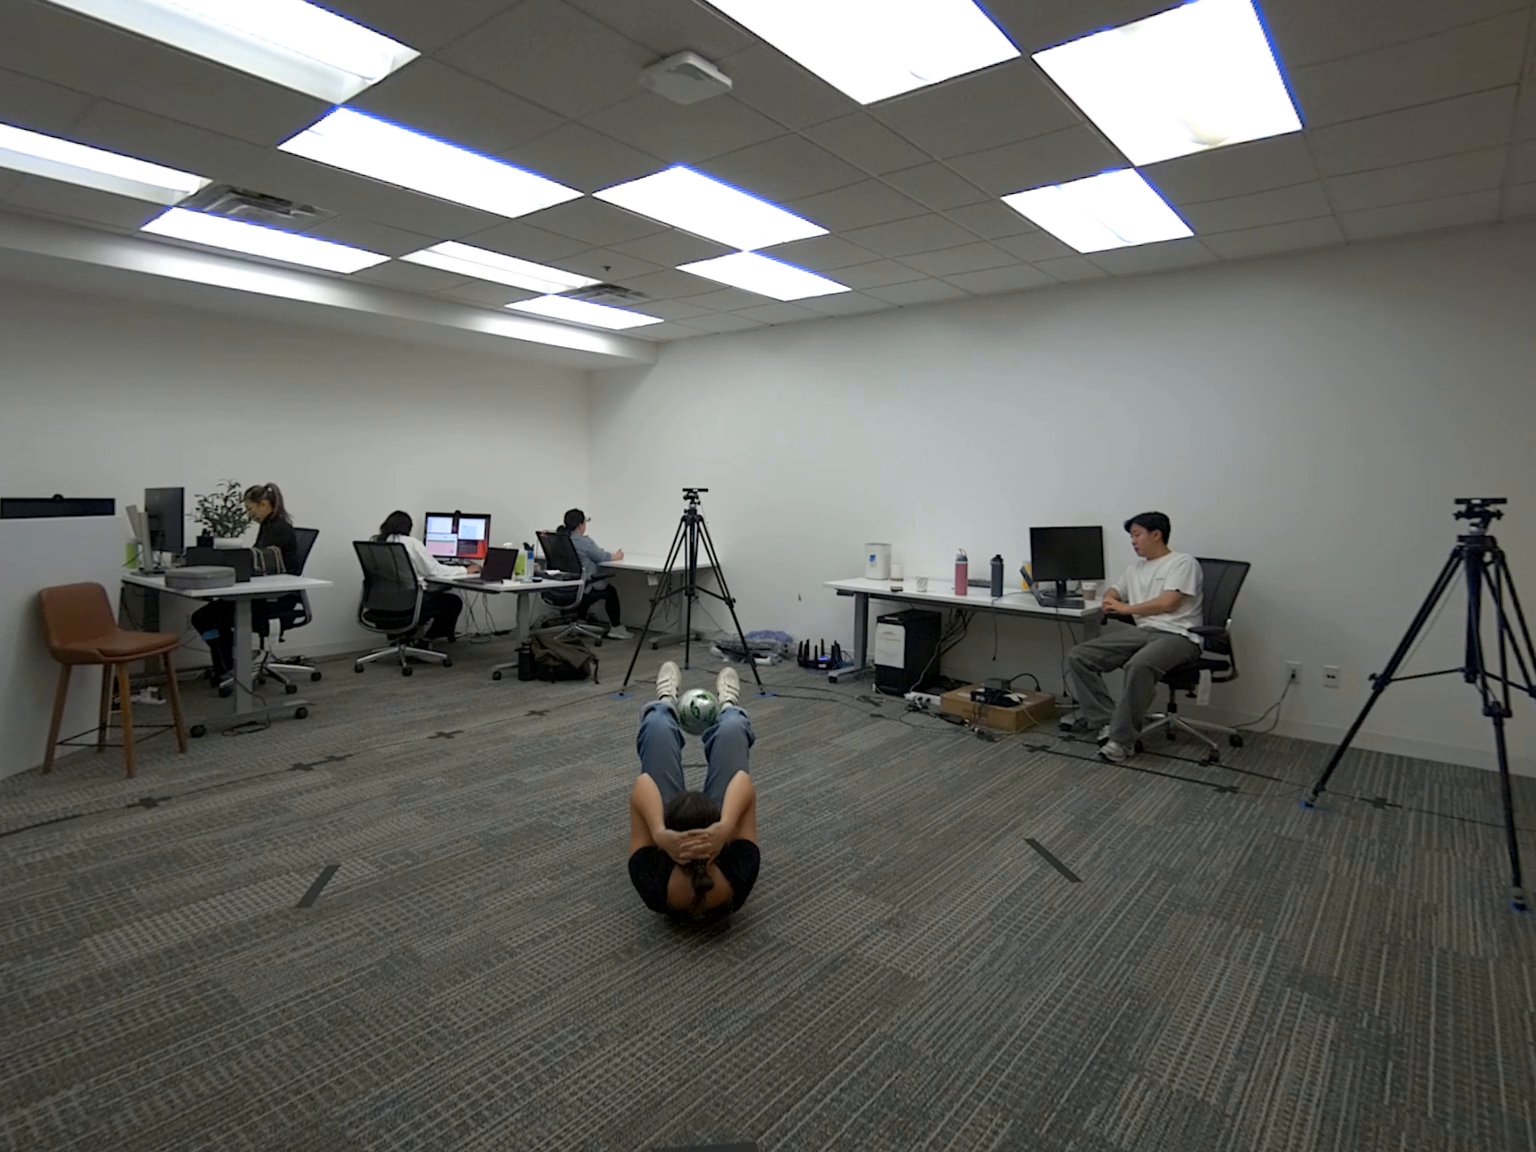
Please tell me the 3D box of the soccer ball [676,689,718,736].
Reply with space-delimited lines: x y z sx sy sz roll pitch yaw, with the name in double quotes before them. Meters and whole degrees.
"soccer ball" -0.287 0.542 3.426 0.187 0.187 0.188 -3 4 -2
